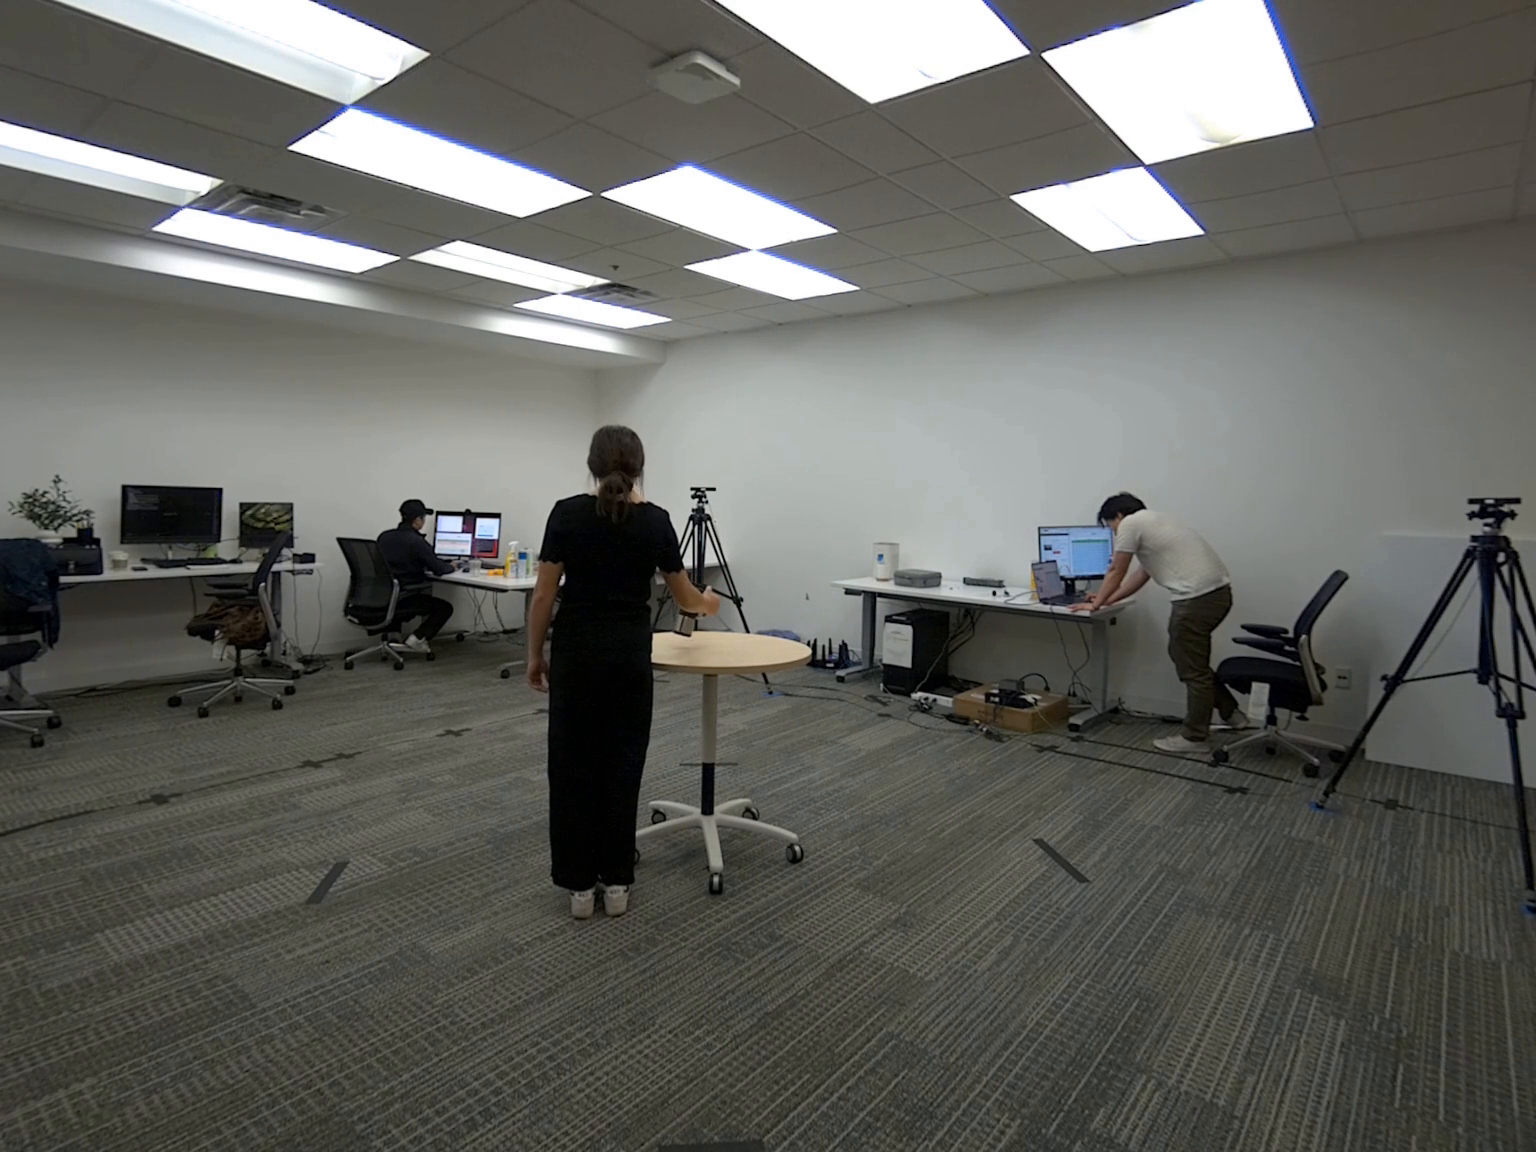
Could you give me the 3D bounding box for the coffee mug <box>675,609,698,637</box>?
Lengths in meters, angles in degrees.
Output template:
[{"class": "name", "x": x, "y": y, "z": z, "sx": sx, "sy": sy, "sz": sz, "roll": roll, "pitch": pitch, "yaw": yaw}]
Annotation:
[{"class": "coffee mug", "x": -0.299, "y": 0.125, "z": 3.203, "sx": 0.084, "sy": 0.204, "sz": 0.126, "roll": 21, "pitch": -11, "yaw": -39}]
